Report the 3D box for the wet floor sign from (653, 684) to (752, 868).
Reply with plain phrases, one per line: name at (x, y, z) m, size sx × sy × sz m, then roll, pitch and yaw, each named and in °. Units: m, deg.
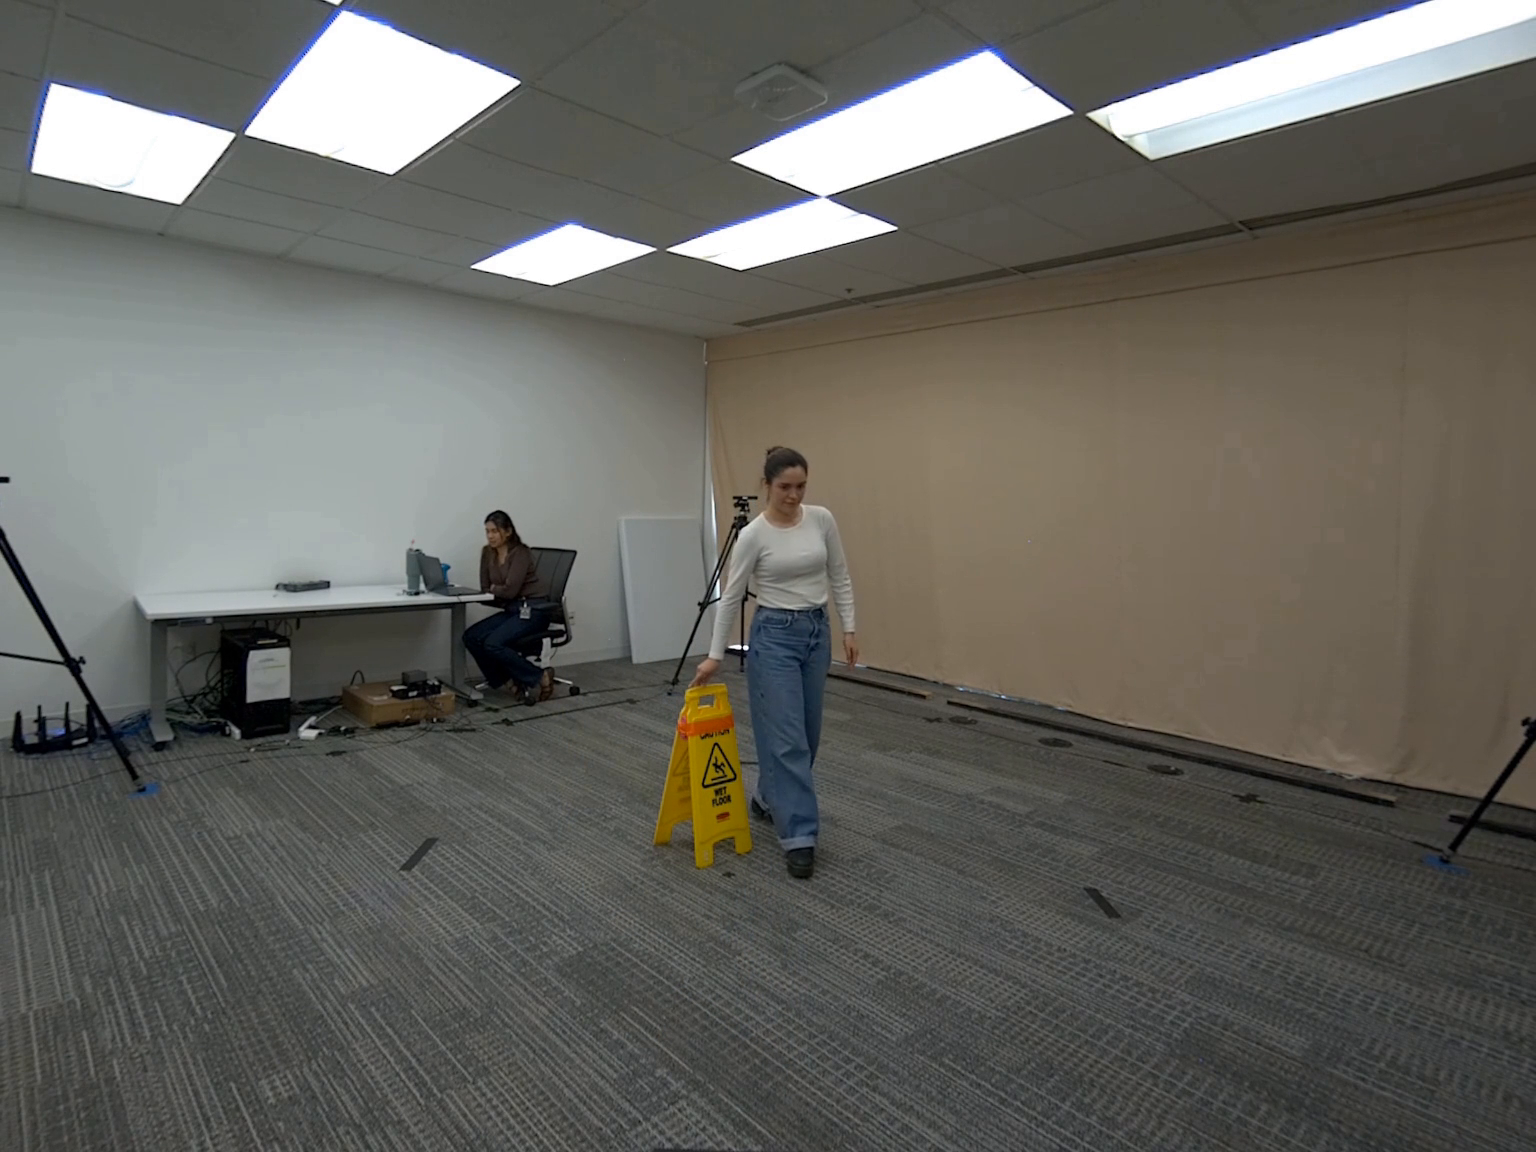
wet floor sign at (-0.261, 0.755, 3.324) m, size 0.276 × 0.645 × 0.297 m, roll -1°, pitch 3°, yaw -43°
